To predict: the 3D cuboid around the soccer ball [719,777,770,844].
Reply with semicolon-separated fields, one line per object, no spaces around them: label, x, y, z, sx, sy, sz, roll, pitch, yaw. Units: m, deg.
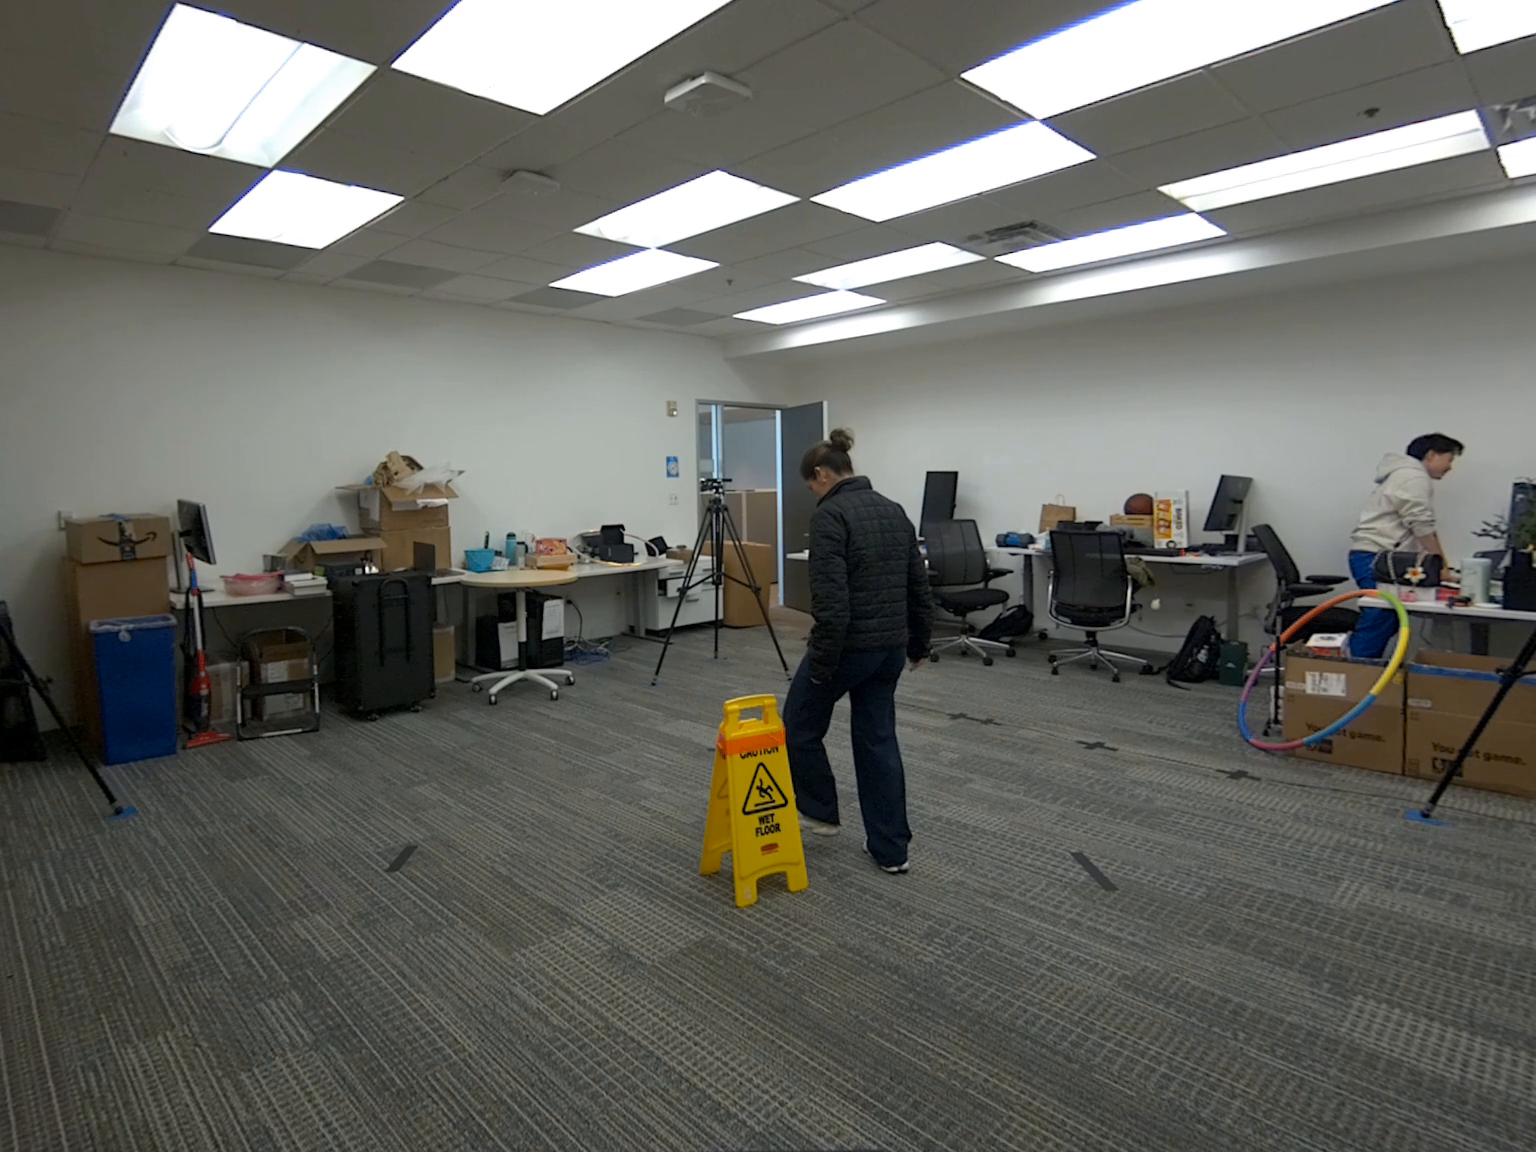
soccer ball;-0.097;0.923;3.391;0.187;0.187;0.188;-1;5;-2
